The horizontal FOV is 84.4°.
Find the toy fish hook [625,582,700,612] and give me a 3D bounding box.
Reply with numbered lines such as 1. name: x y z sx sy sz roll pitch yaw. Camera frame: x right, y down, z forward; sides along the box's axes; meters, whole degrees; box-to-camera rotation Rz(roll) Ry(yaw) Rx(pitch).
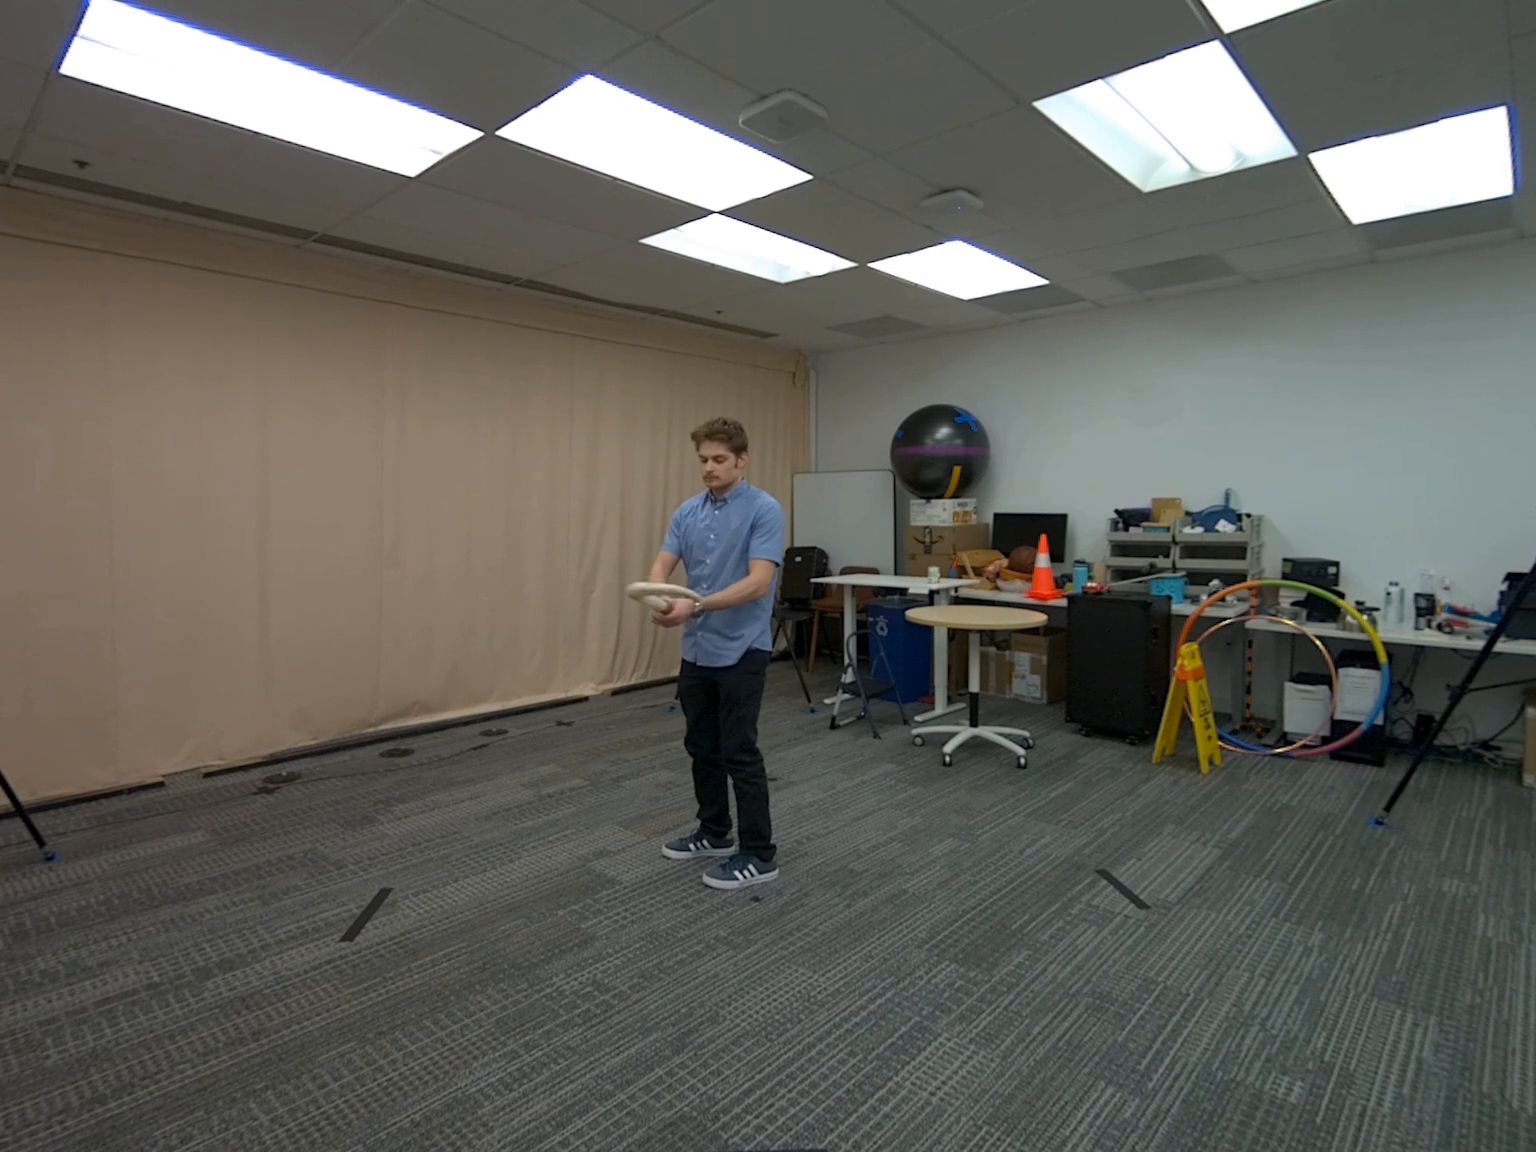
1. toy fish hook: -0.287 0.093 2.761 0.227 0.048 0.497 8 -12 10
